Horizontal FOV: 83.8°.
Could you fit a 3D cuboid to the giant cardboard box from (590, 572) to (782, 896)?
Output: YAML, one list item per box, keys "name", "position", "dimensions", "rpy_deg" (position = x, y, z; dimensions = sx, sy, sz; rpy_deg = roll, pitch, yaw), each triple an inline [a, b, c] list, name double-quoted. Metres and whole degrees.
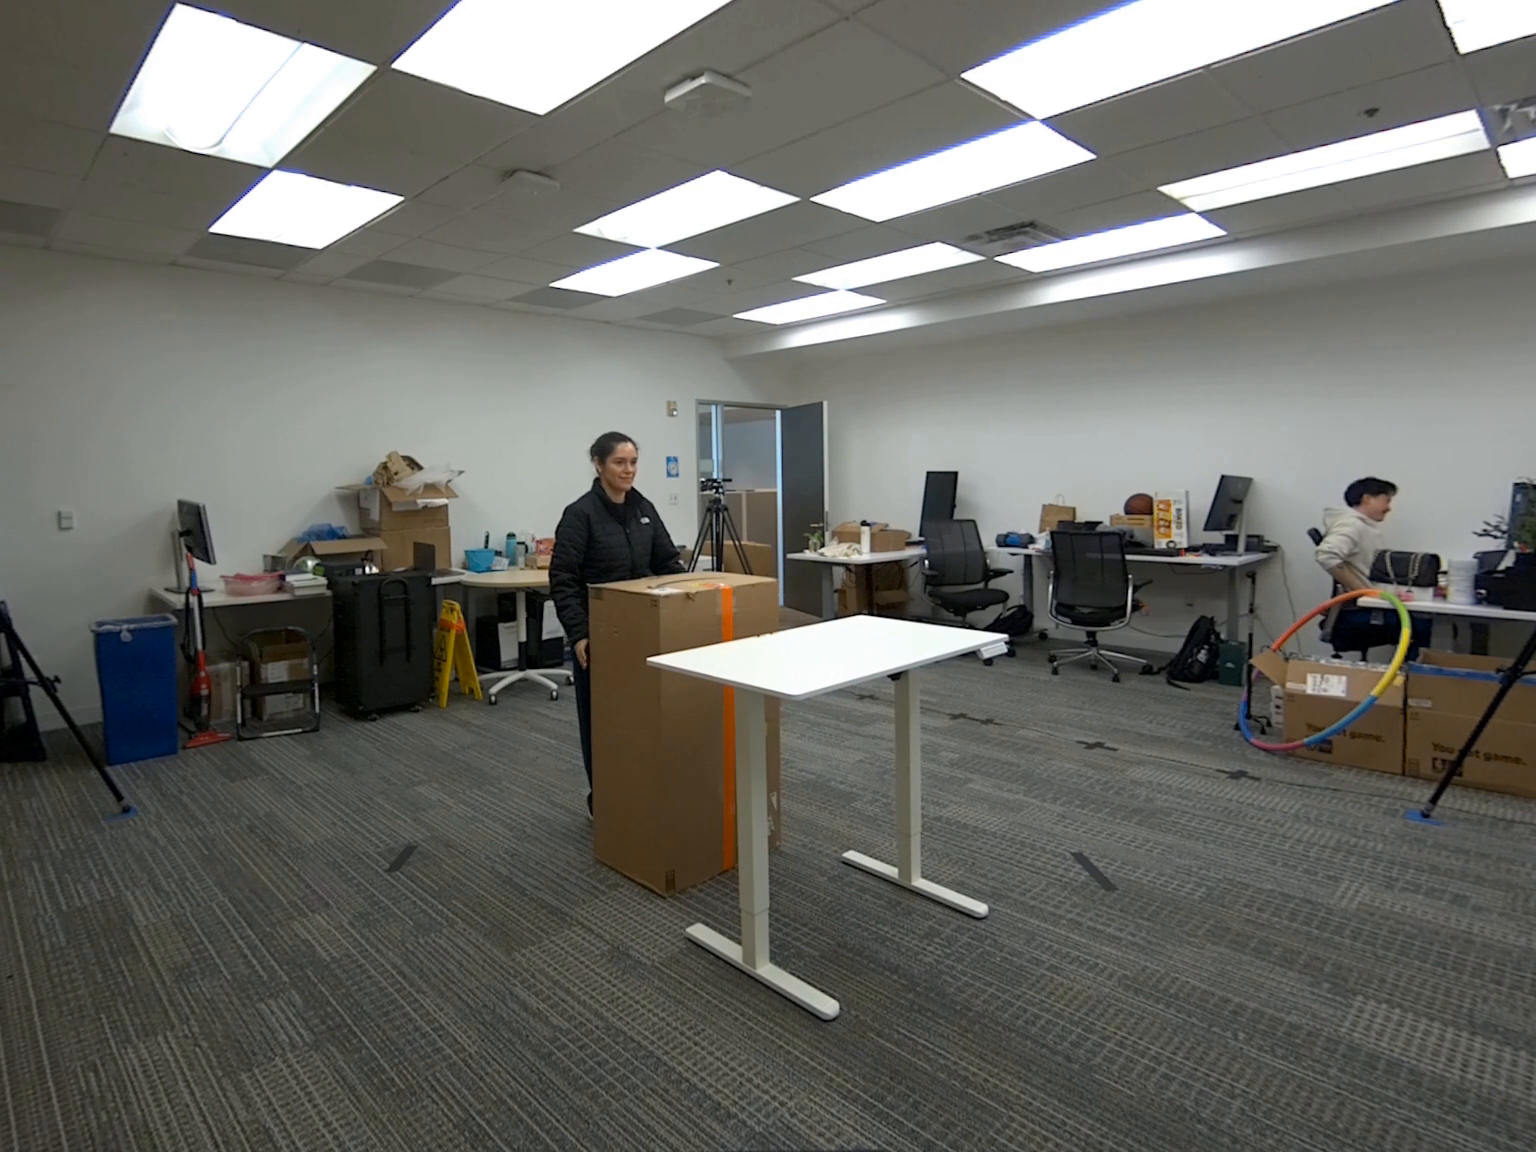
- name: "giant cardboard box"
  position: [-0.300, 0.532, 3.176]
  dimensions: [0.562, 1.022, 0.439]
  rpy_deg: [-4, 5, -44]
